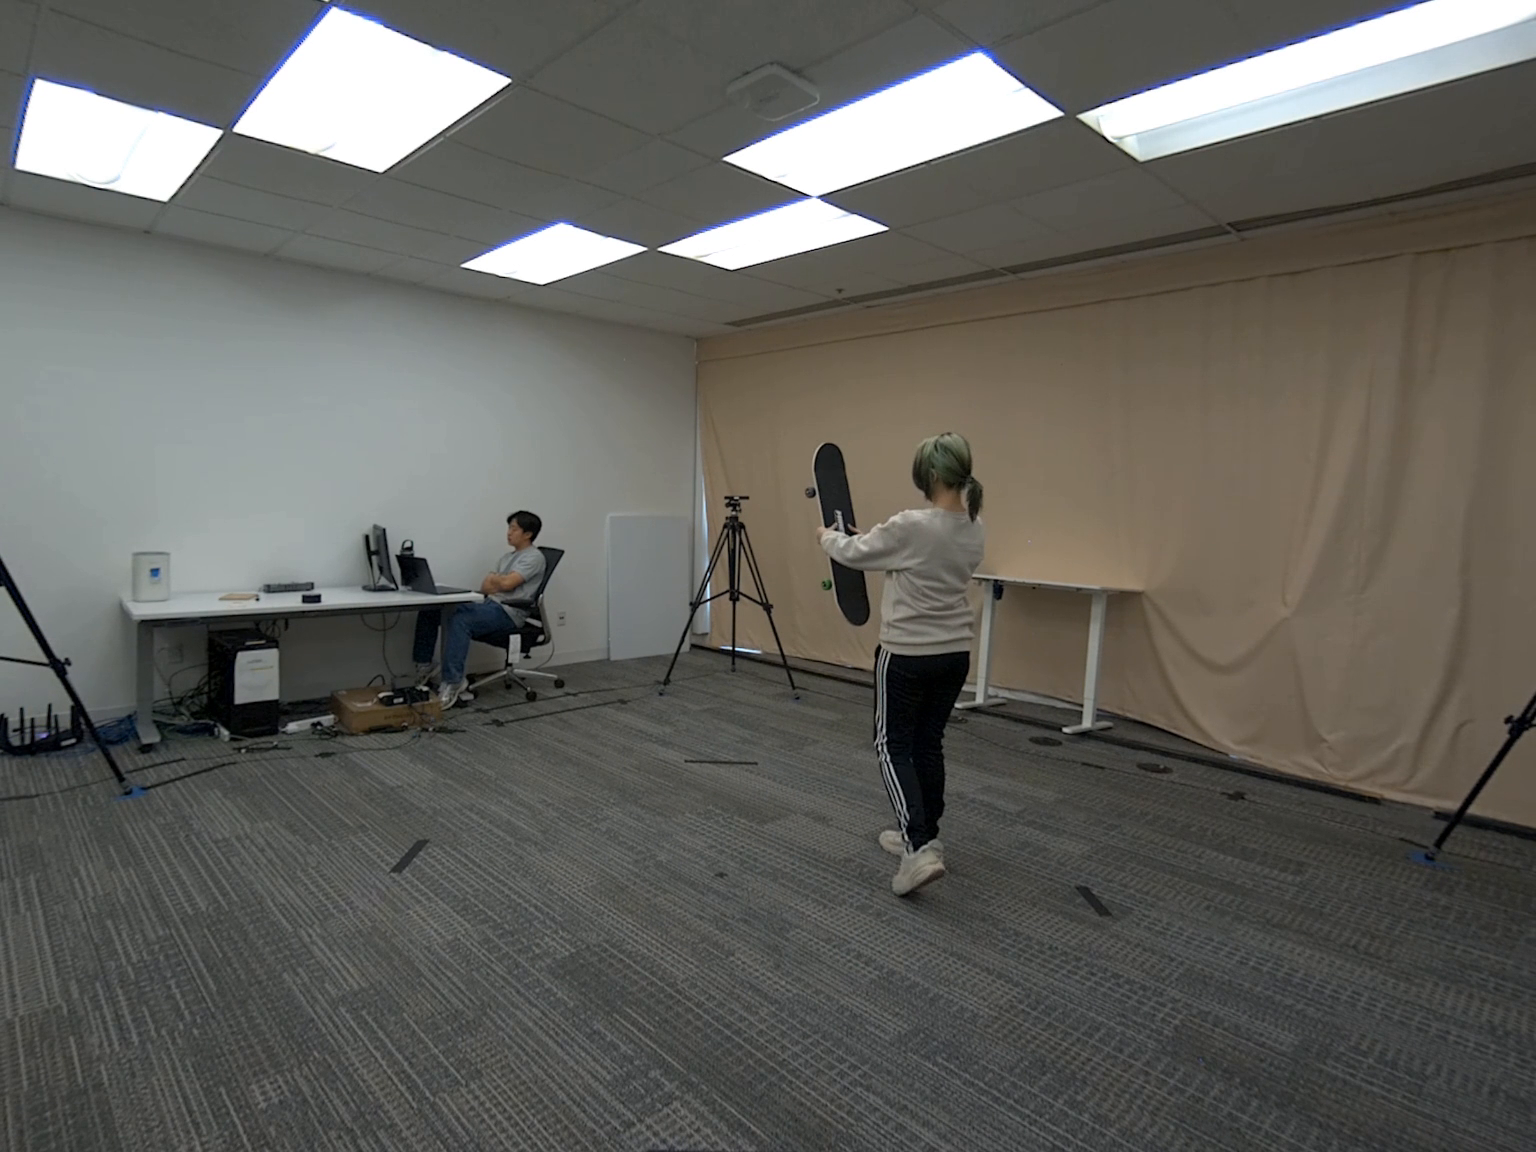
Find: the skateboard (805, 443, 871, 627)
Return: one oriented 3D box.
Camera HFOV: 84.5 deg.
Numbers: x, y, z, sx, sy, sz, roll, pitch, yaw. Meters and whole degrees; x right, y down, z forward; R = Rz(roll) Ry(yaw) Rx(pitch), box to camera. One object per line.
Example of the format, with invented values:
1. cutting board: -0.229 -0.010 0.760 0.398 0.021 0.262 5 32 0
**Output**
1. skateboard: 0.285 -0.170 3.597 0.189 0.788 0.112 -6 -5 -40
